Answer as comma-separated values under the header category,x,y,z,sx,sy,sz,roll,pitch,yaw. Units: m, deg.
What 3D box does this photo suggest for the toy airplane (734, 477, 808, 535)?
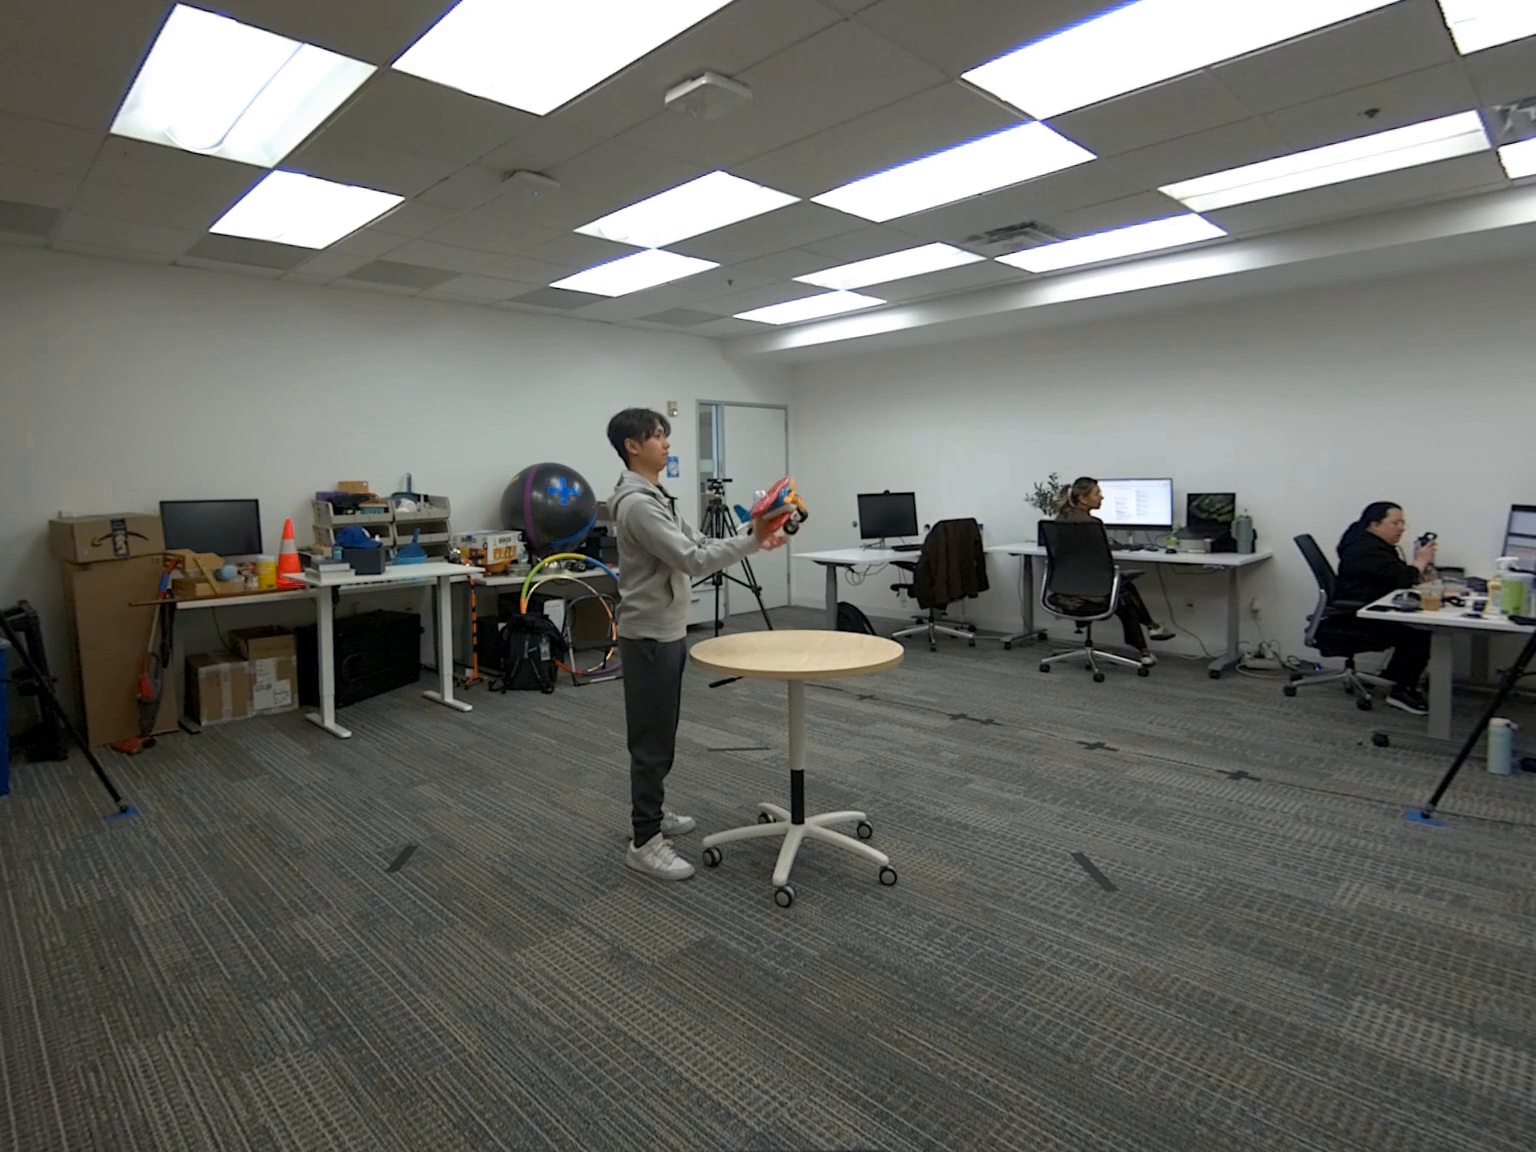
category,x,y,z,sx,sy,sz,roll,pitch,yaw
toy airplane,-0.006,-0.207,2.975,0.260,0.152,0.256,-21,23,6
